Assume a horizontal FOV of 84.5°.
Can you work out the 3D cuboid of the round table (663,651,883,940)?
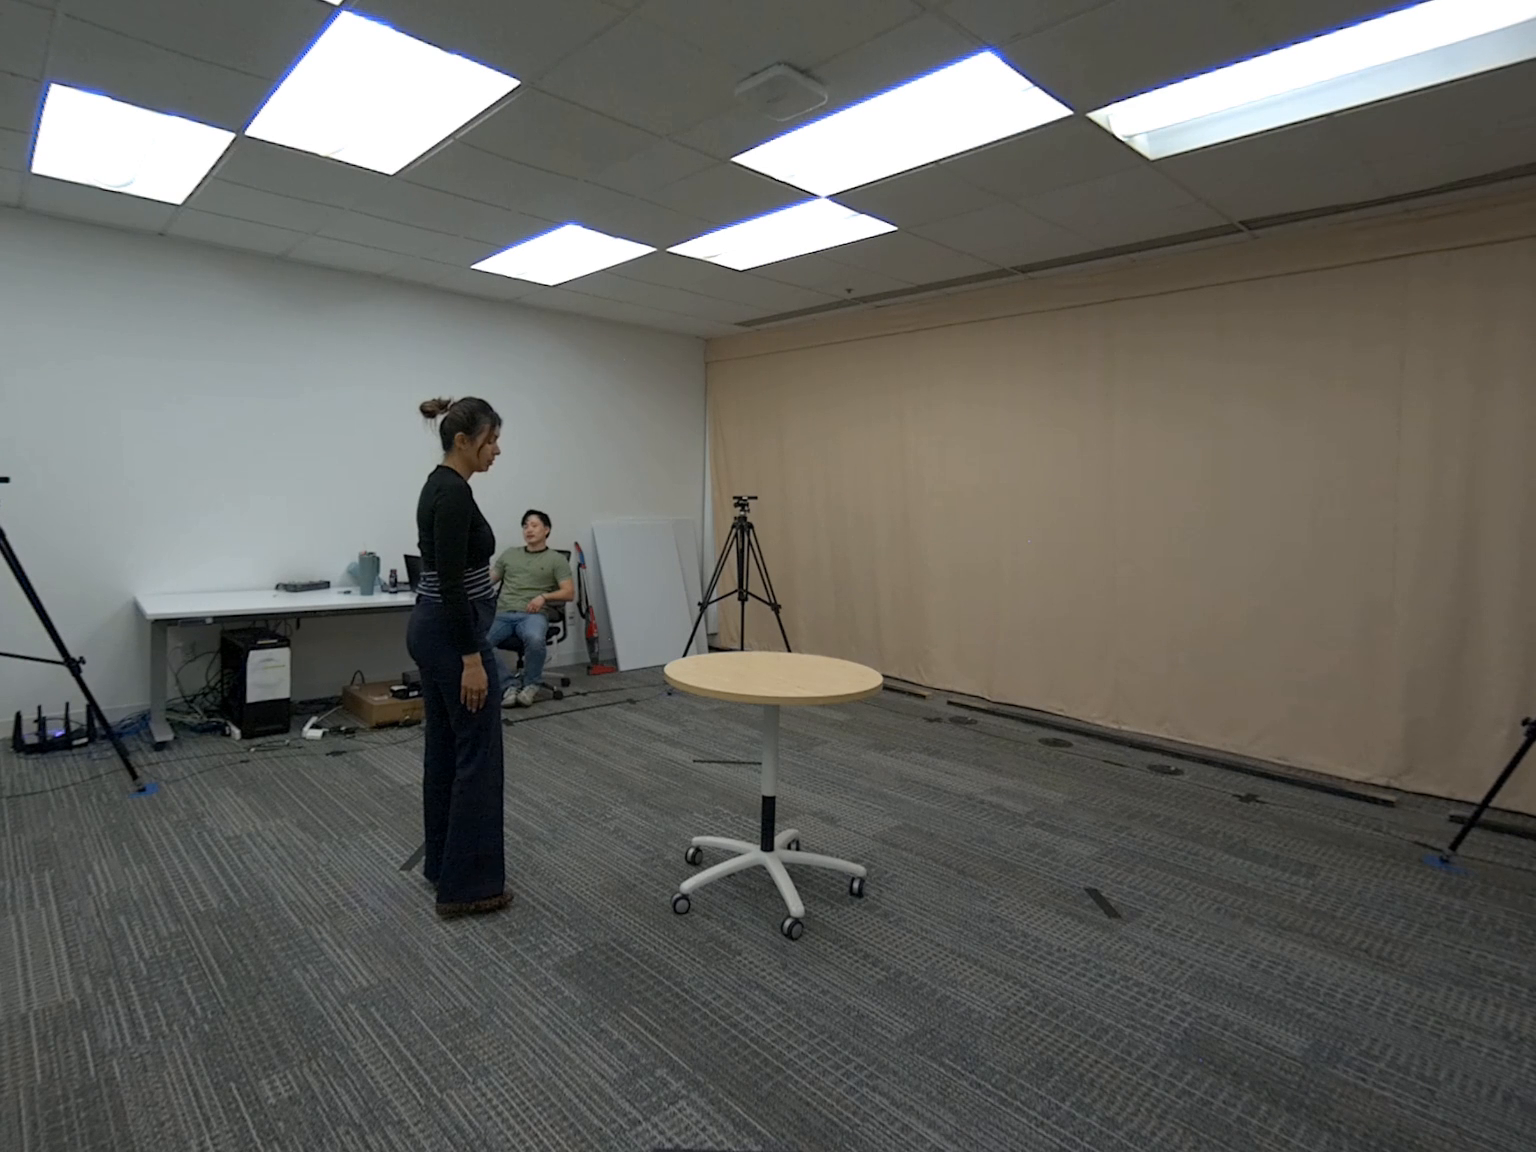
[{"bbox_3d":[-0.007,0.729,2.981,0.763,0.792,0.766,2,4,-1],"label":"round table"}]
